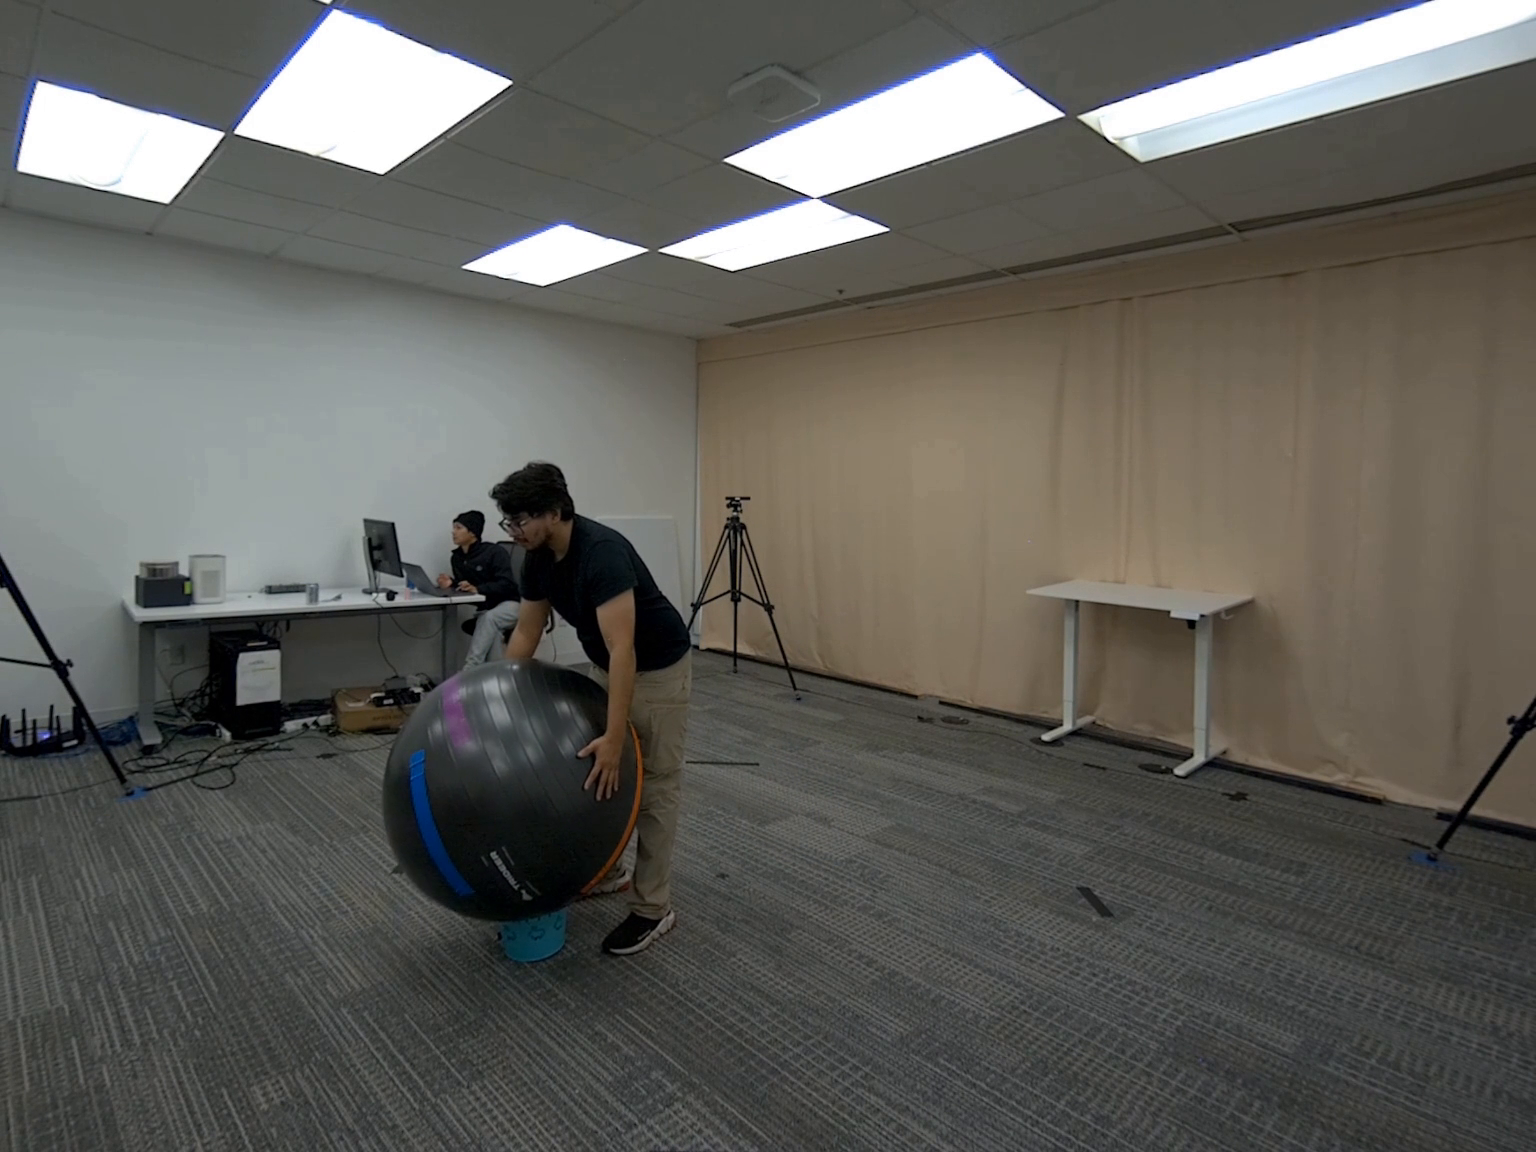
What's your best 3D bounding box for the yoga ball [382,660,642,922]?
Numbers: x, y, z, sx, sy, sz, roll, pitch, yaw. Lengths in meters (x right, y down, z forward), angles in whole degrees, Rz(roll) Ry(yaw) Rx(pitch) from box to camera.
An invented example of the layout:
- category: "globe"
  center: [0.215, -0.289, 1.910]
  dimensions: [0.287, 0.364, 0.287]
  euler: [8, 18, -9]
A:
- category: "yoga ball"
  center: [-0.767, 0.638, 2.531]
  dimensions: [0.757, 0.756, 0.761]
  euler: [1, 4, -1]
